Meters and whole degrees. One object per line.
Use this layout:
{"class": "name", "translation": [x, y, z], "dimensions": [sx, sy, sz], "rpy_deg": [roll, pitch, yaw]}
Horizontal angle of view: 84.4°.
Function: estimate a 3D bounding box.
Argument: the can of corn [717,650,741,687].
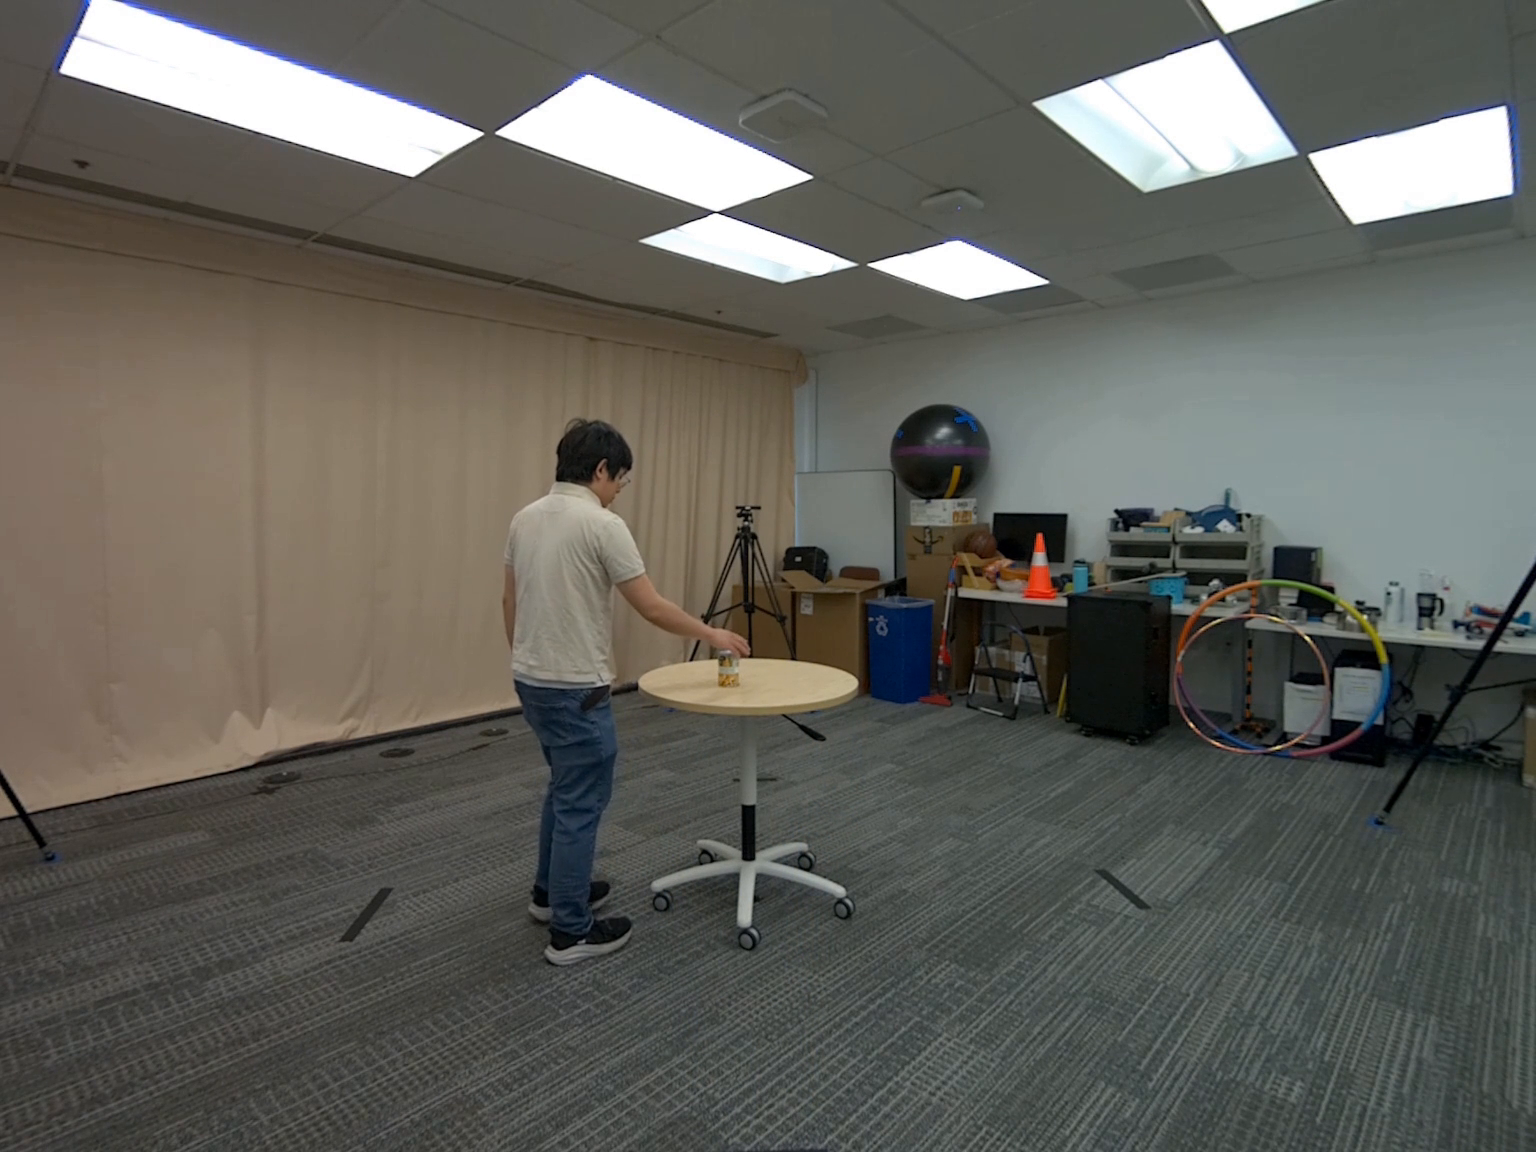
{"class": "can of corn", "translation": [-0.132, 0.319, 2.864], "dimensions": [0.074, 0.111, 0.074], "rpy_deg": [-1, 4, -2]}
